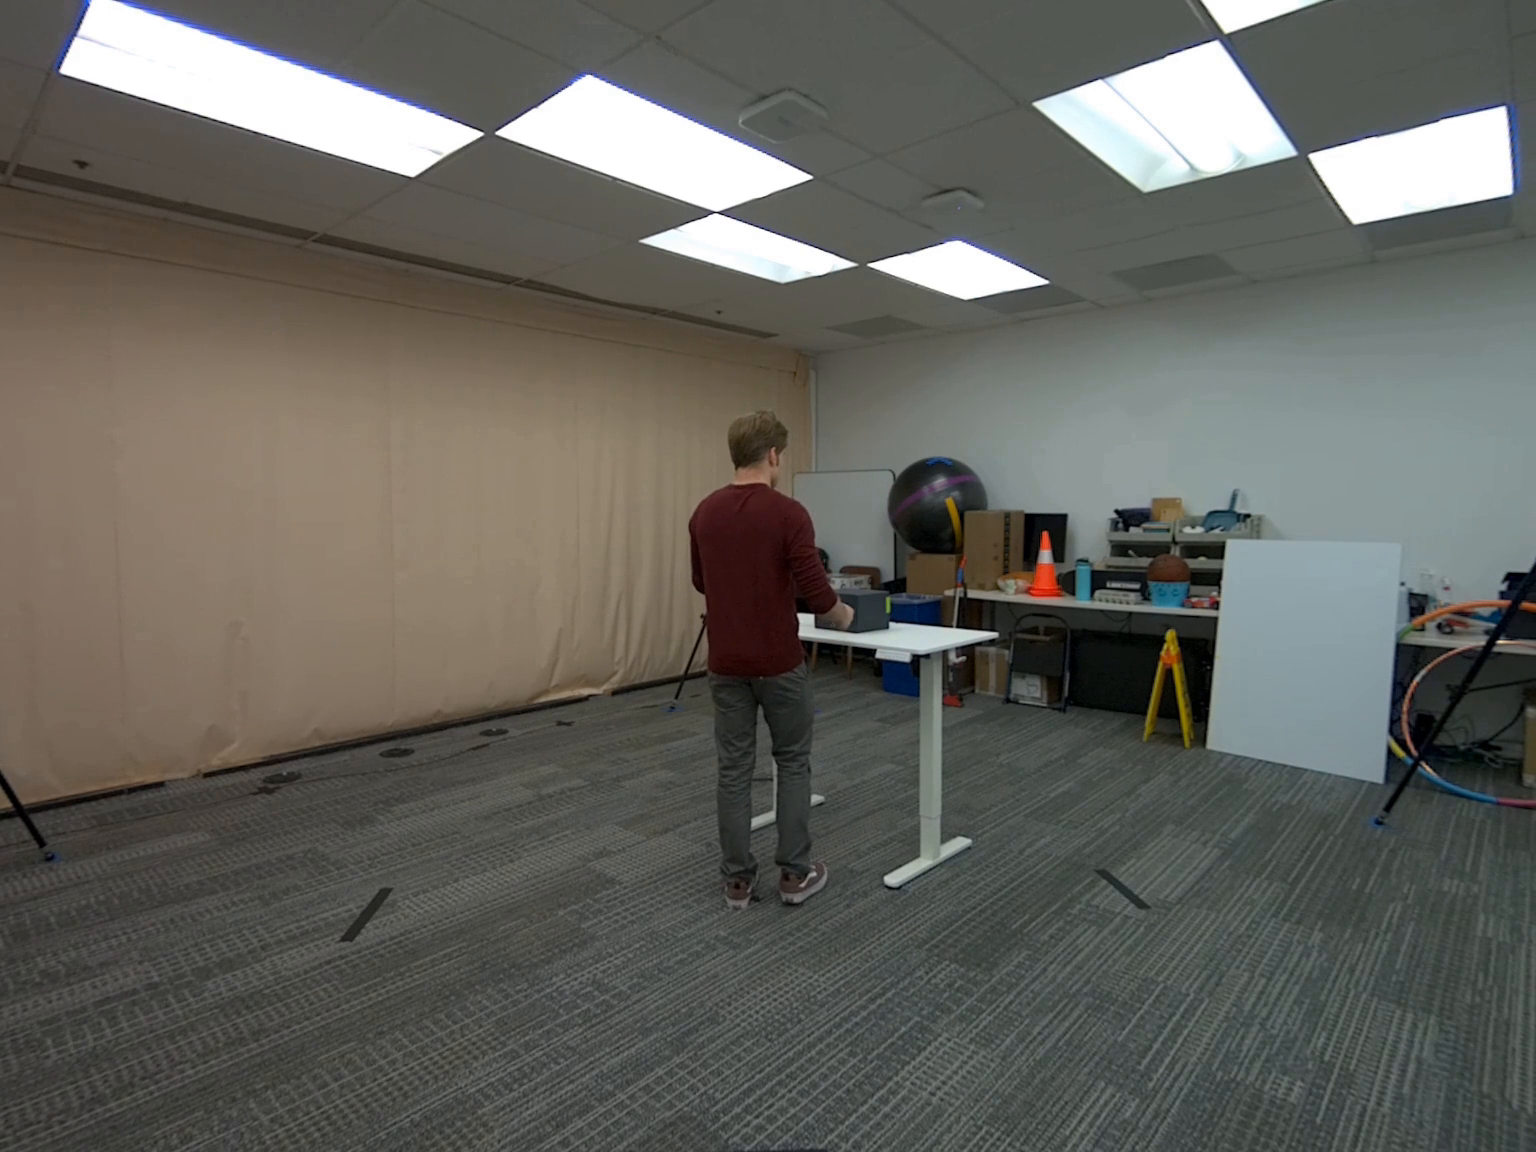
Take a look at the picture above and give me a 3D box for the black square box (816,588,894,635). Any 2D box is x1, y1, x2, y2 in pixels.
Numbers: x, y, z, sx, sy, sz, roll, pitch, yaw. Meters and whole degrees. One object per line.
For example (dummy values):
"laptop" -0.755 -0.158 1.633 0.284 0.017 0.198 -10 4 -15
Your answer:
"black square box" 0.356 0.139 3.492 0.210 0.156 0.235 -3 4 -43
